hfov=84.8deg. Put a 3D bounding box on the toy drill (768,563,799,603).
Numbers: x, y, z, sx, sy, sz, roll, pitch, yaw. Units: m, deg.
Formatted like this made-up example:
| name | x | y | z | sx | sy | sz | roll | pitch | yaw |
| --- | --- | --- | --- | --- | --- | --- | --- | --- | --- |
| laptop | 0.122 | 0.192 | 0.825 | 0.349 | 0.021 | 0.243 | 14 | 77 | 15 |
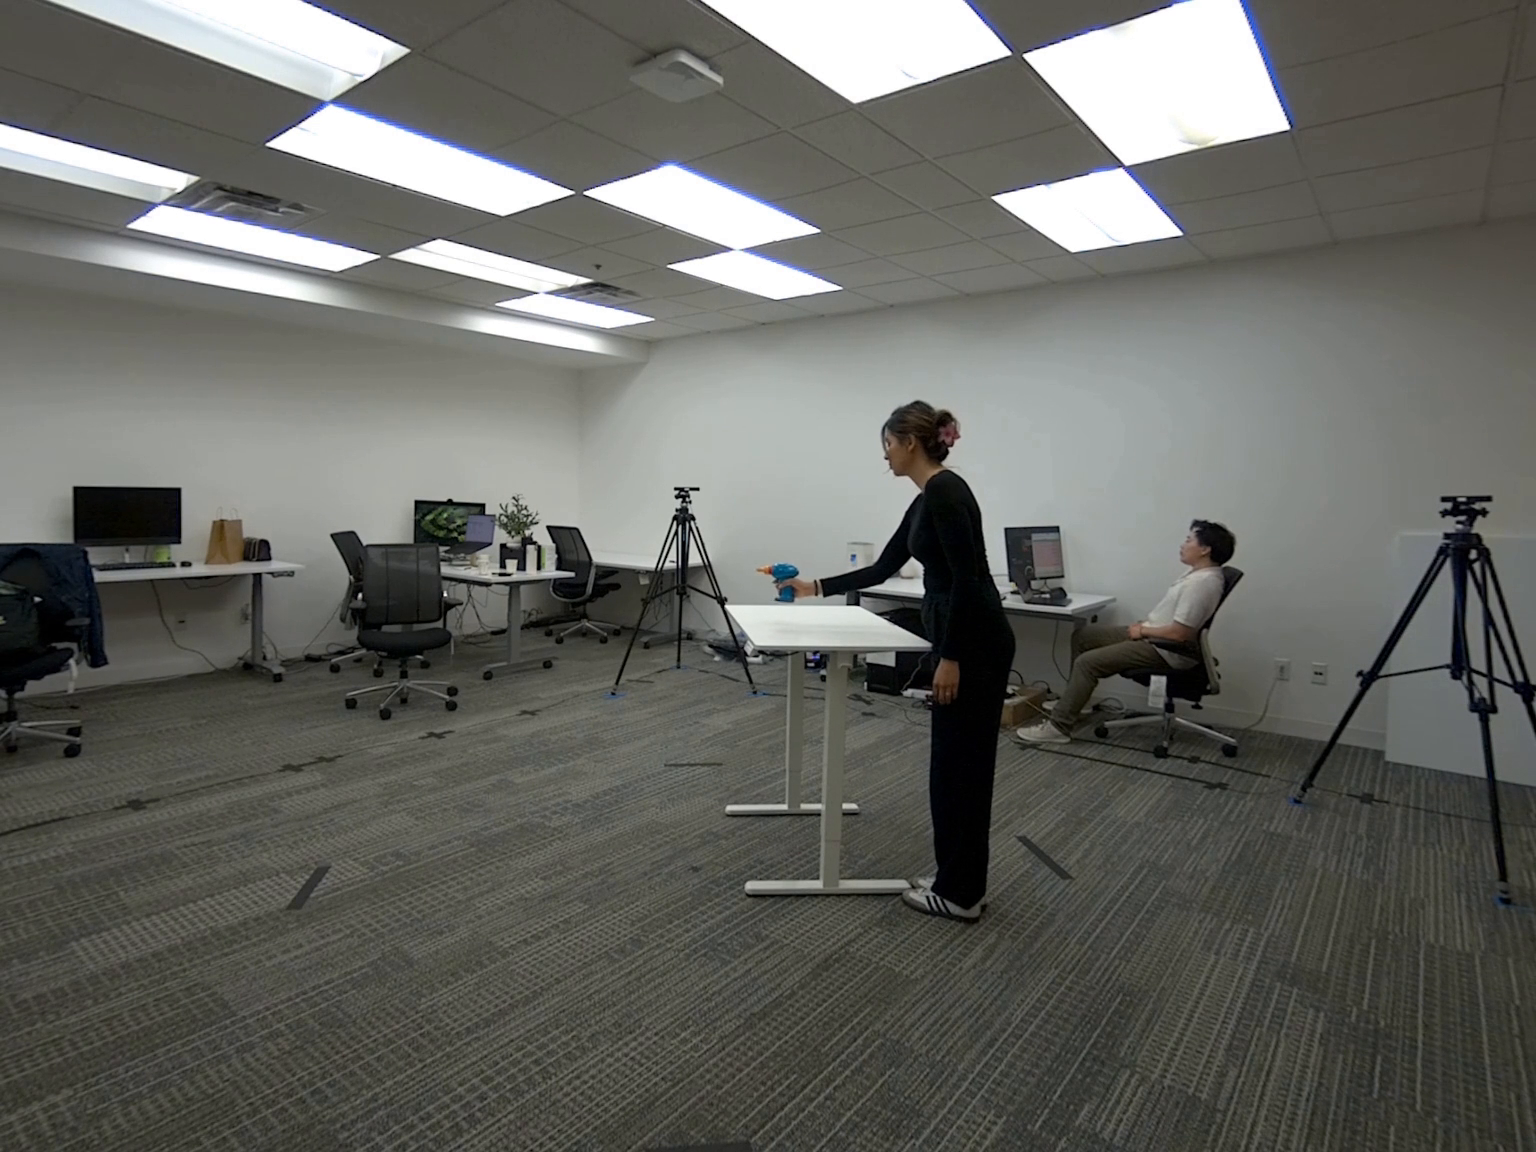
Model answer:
| name | x | y | z | sx | sy | sz | roll | pitch | yaw |
| --- | --- | --- | --- | --- | --- | --- | --- | --- | --- |
| toy drill | 0.031 | 0.017 | 3.182 | 0.174 | 0.146 | 0.060 | 4 | 1 | 21 |
